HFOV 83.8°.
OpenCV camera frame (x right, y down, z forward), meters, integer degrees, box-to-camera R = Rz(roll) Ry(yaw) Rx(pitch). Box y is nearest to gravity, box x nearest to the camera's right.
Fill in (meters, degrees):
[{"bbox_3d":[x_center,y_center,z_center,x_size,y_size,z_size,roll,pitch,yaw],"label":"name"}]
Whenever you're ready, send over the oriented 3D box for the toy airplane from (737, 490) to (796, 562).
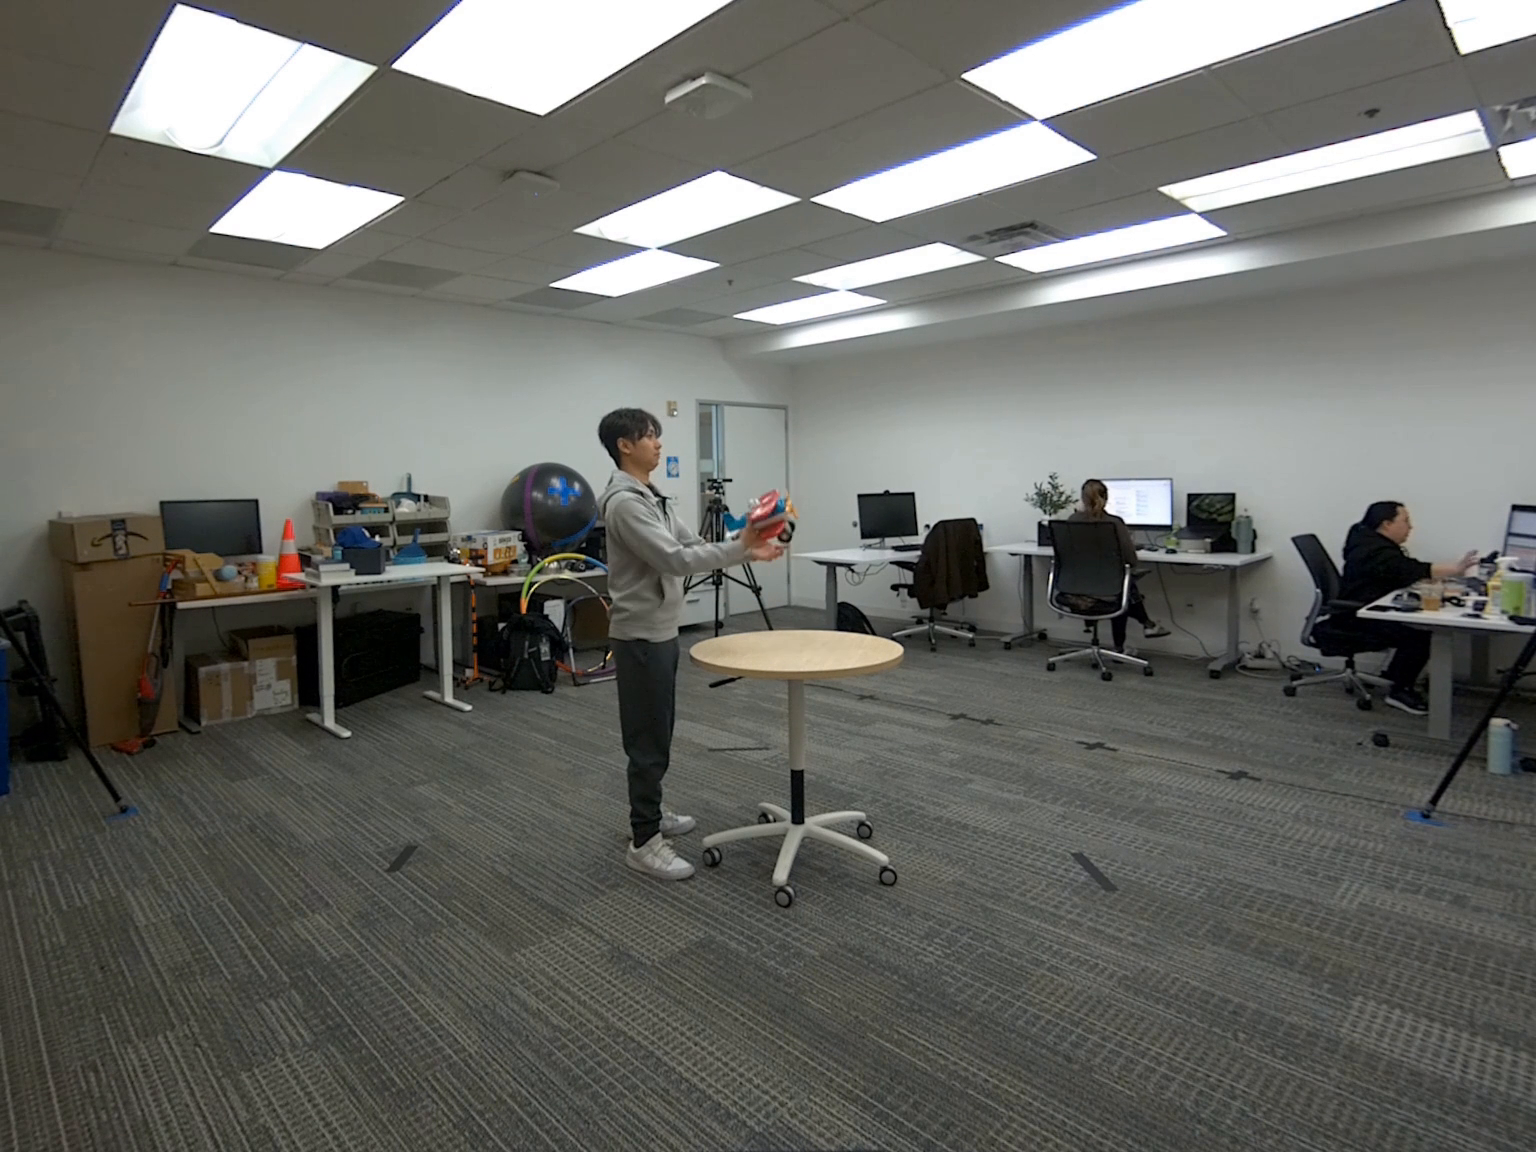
[{"bbox_3d":[-0.038,-0.182,3.034,0.257,0.153,0.258,-18,22,-11],"label":"toy airplane"}]
